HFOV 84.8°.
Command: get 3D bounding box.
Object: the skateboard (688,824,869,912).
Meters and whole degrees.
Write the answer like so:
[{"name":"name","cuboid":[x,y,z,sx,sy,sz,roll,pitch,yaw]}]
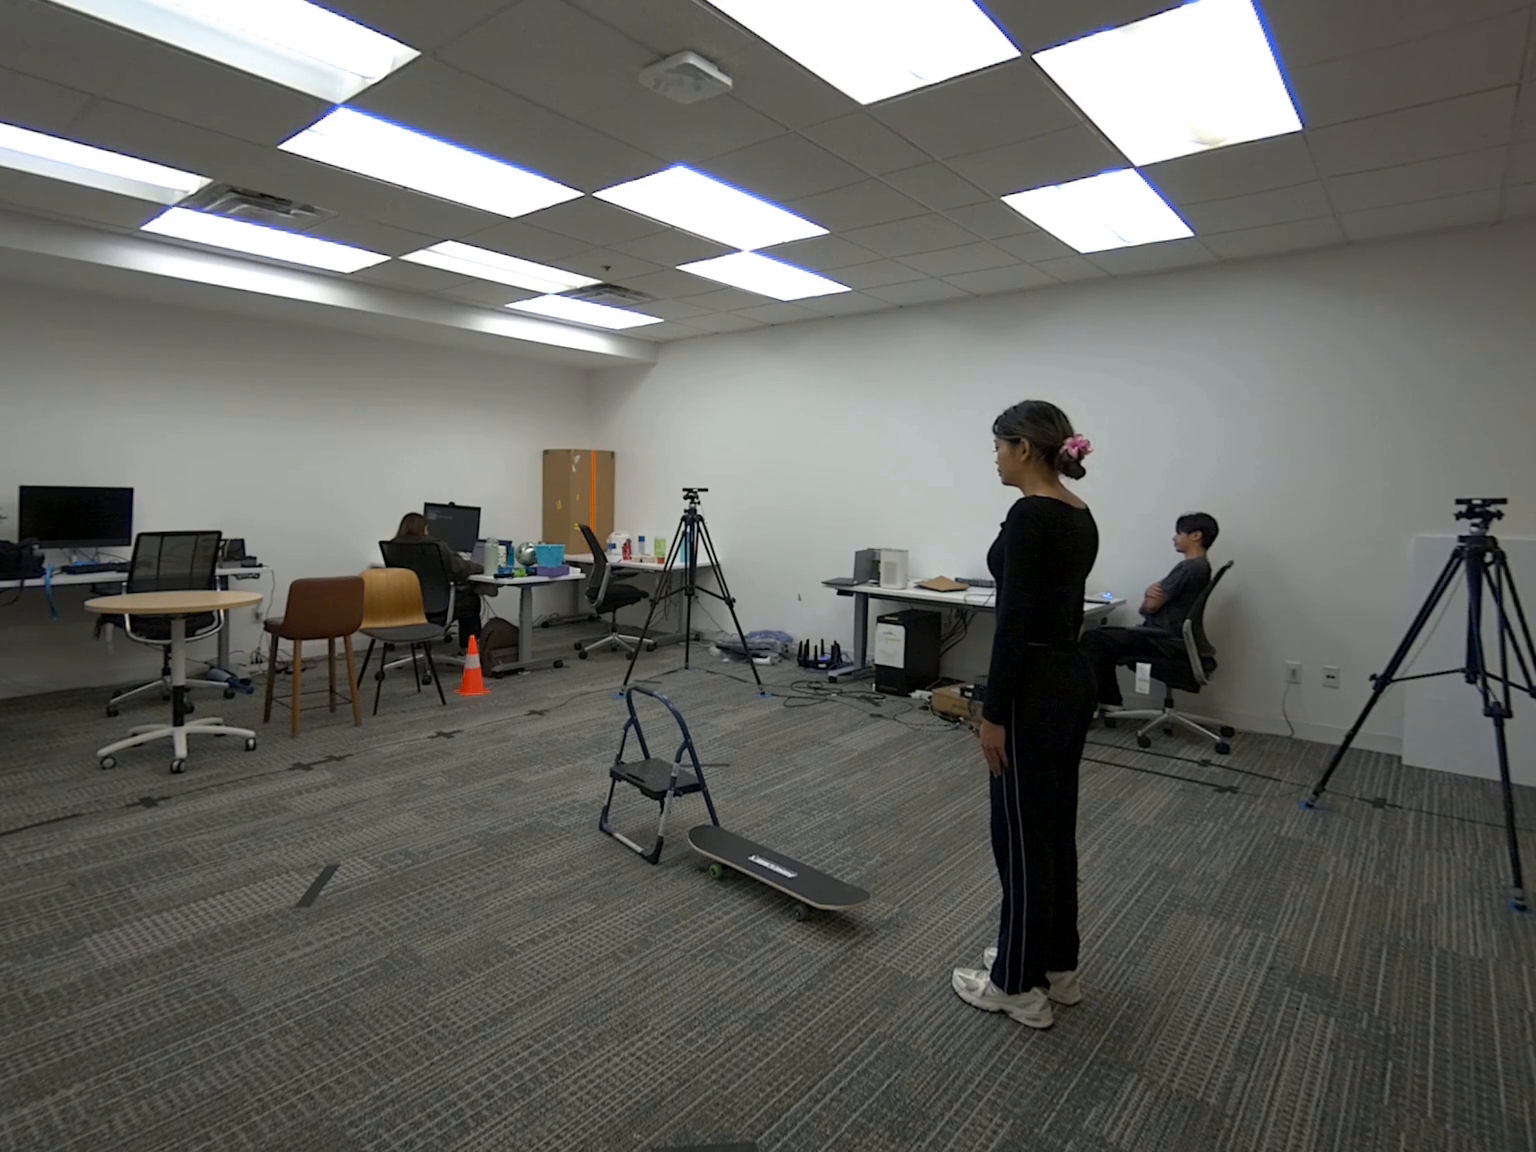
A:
[{"name":"skateboard","cuboid":[0.009,1.033,2.947,0.813,0.110,0.188,6,8,44]}]
